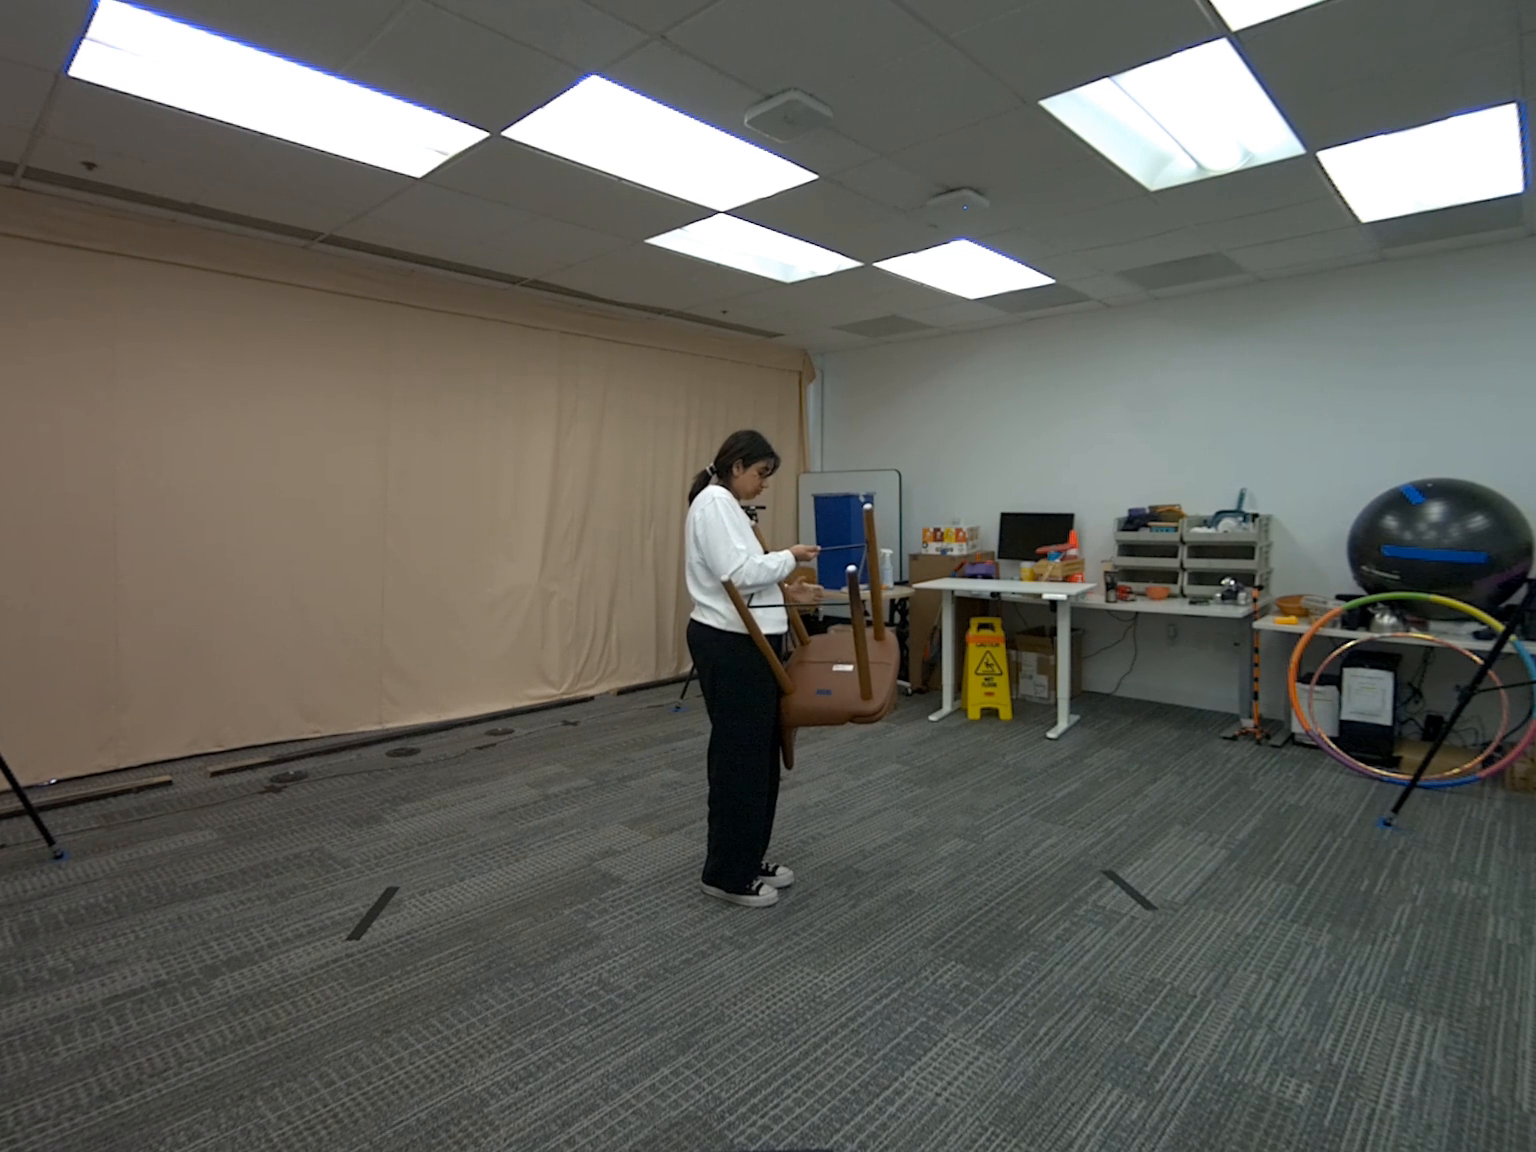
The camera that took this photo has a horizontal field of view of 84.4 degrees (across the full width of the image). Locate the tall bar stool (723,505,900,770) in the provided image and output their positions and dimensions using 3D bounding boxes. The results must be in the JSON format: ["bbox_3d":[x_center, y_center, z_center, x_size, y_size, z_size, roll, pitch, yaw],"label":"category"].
[{"bbox_3d":[0.221,0.252,2.986,0.477,0.870,0.457,-3,31,20],"label":"tall bar stool"}]
